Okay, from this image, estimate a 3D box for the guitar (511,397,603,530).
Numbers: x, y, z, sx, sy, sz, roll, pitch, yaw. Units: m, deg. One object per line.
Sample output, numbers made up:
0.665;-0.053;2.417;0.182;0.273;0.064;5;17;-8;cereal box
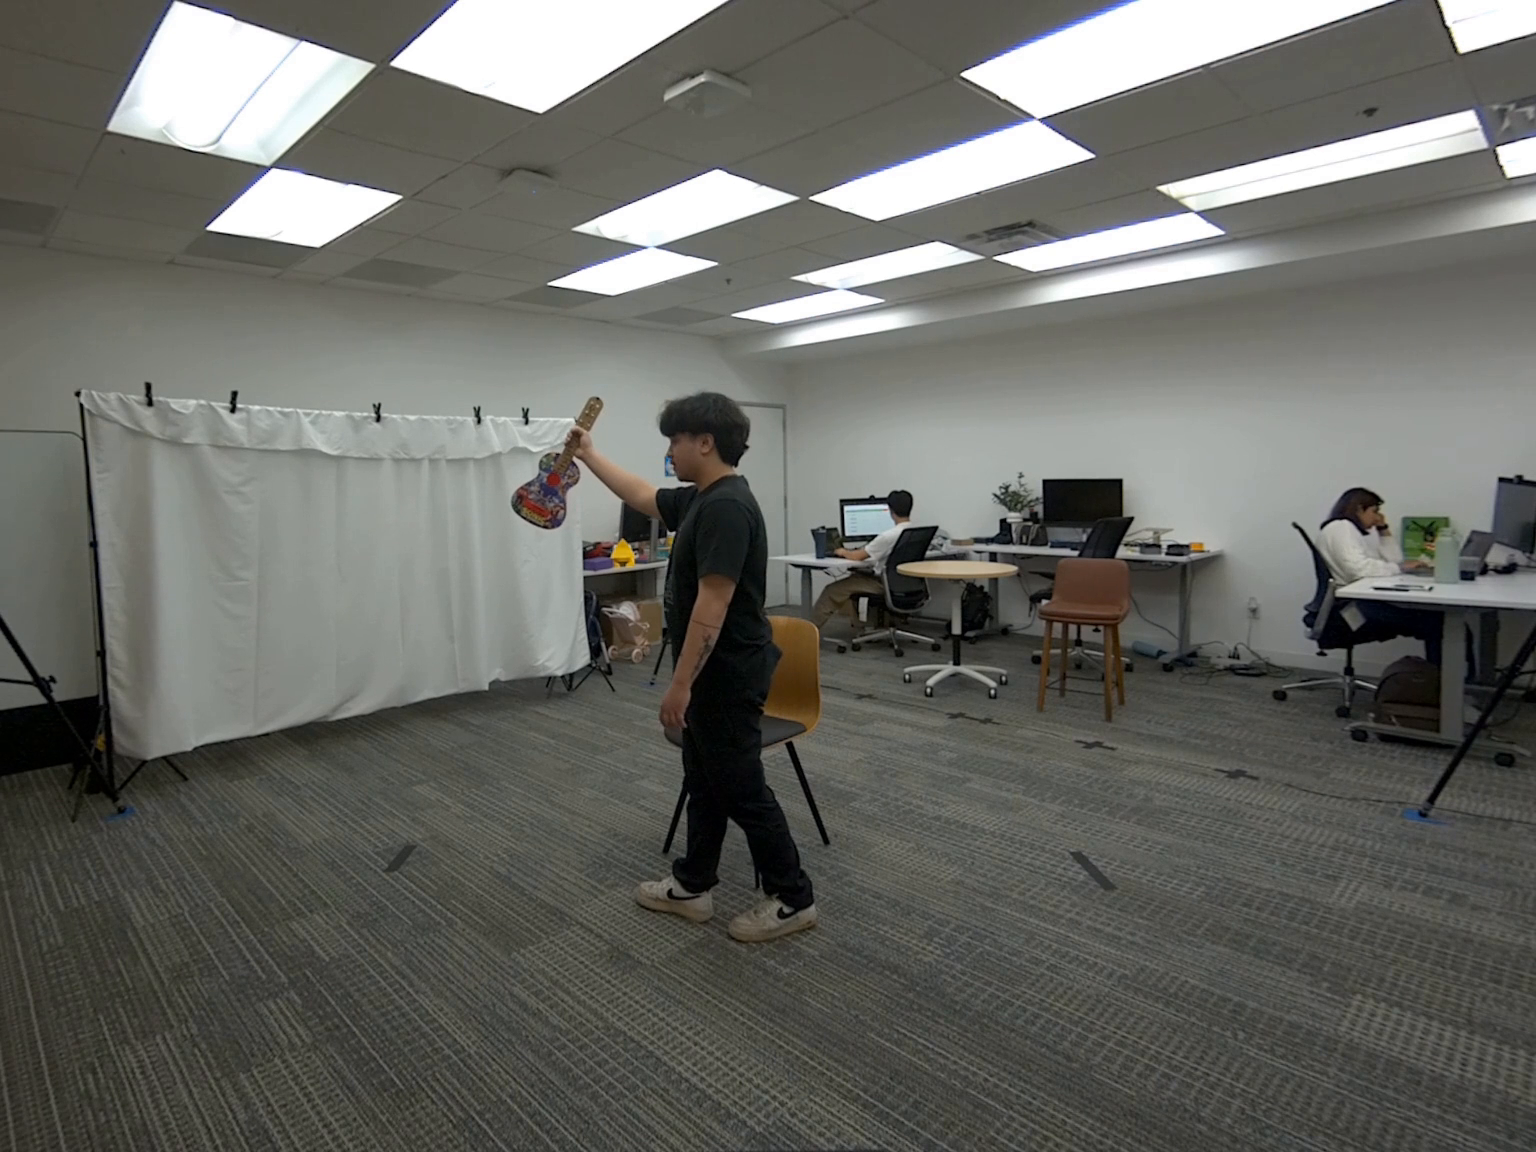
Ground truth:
-0.685;-0.384;3.004;0.192;0.498;0.071;32;0;-3;guitar
